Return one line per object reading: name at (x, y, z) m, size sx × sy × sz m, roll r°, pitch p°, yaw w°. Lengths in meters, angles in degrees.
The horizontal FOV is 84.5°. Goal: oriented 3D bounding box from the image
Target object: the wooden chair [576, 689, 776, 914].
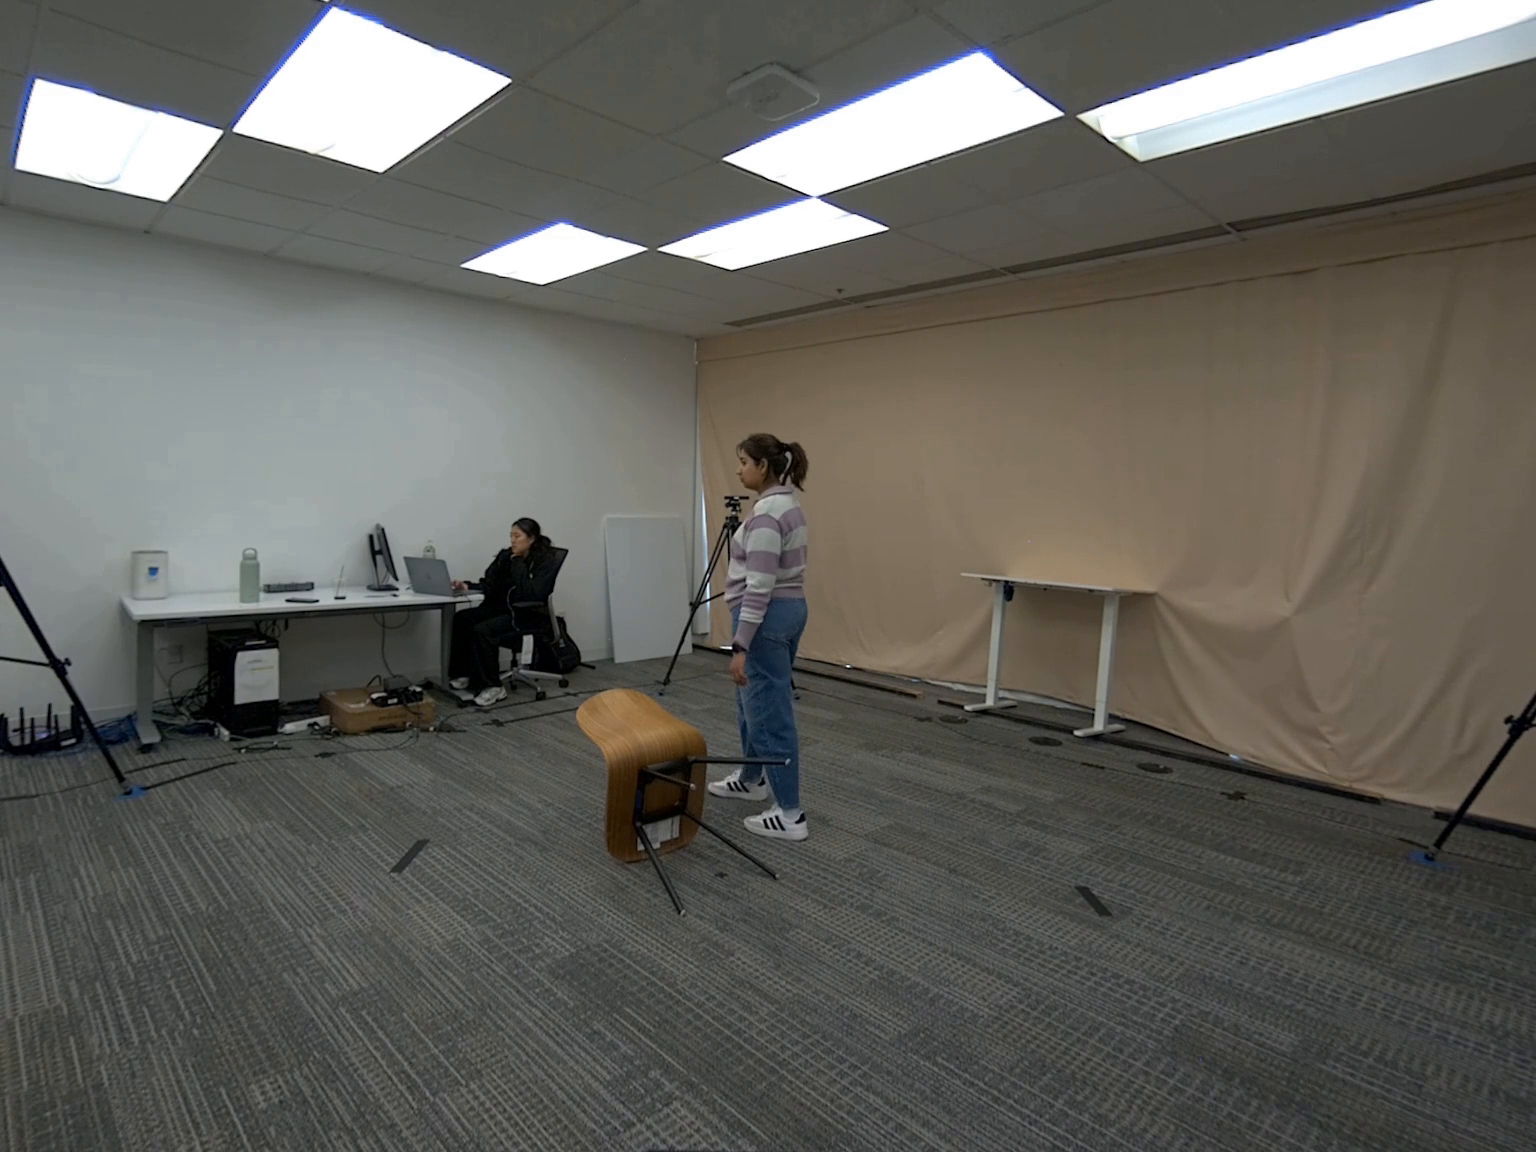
wooden chair at (-0.403, 0.832, 3.229) m, size 0.467 × 0.519 × 0.903 m, roll -3°, pitch 15°, yaw -42°
